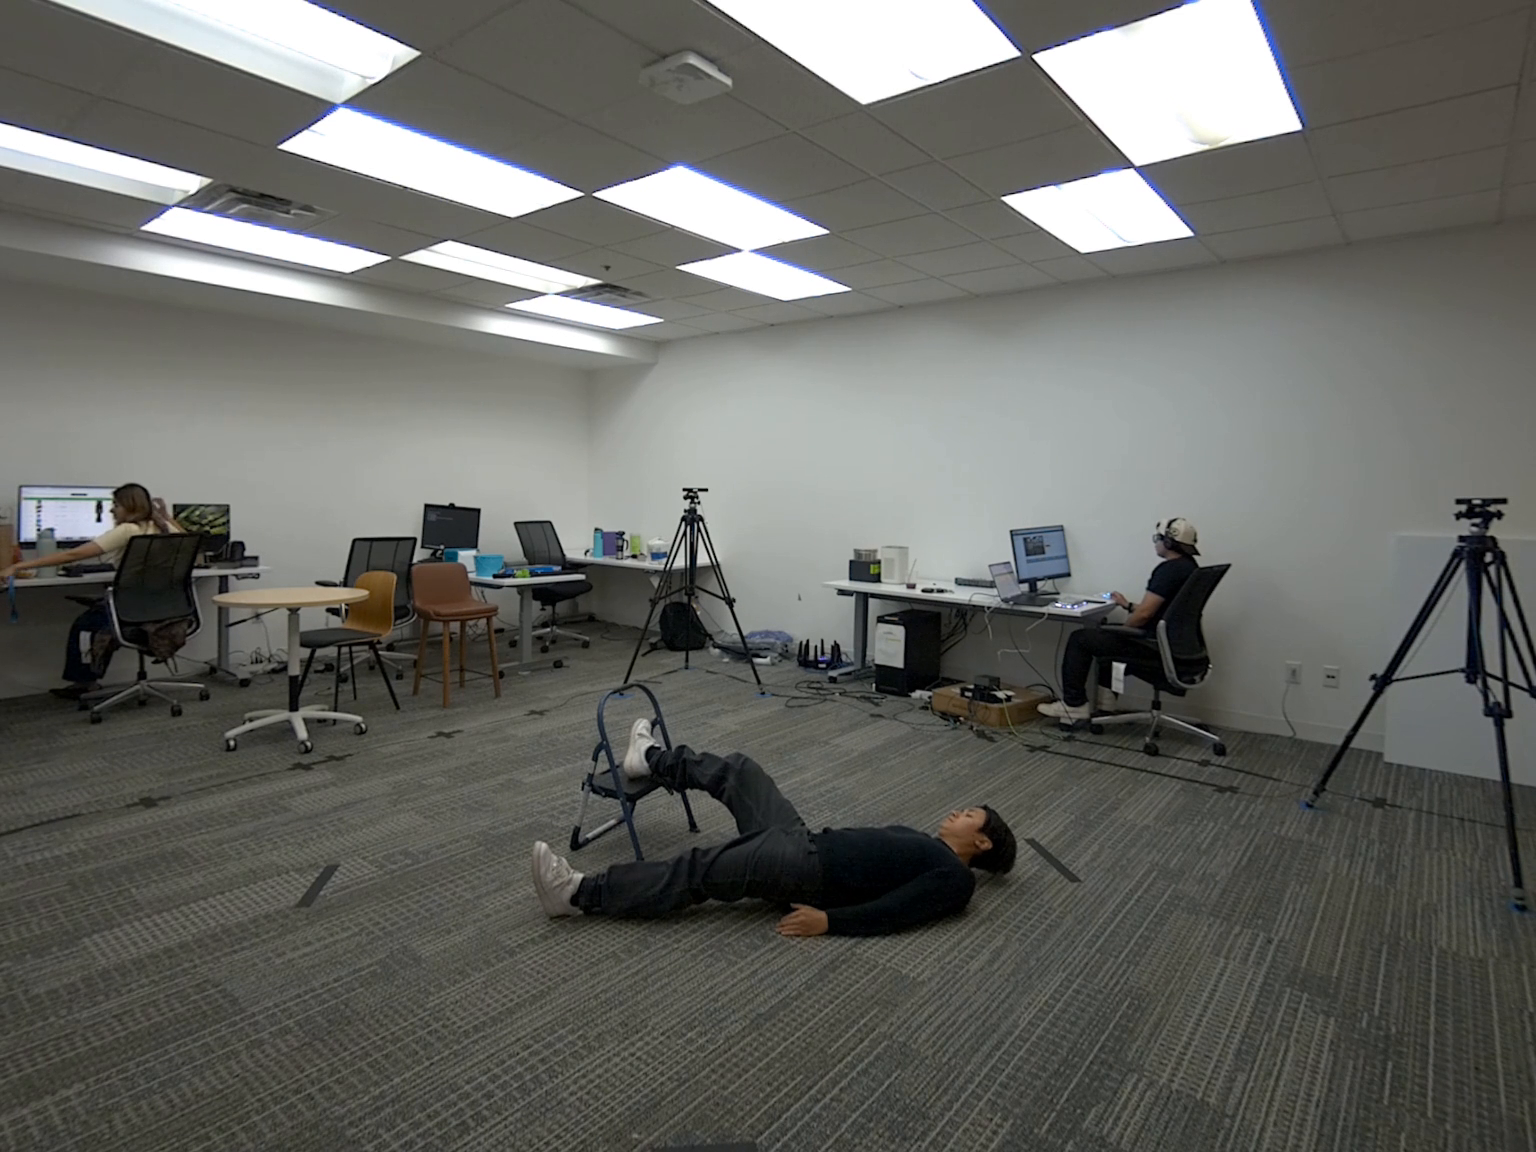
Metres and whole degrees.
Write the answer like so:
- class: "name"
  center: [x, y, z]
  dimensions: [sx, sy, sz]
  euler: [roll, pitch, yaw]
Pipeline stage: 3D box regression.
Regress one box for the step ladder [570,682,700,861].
- class: "step ladder"
  center: [-0.524, 0.737, 3.344]
  dimensions: [0.358, 0.605, 0.420]
  euler: [3, 3, 25]
